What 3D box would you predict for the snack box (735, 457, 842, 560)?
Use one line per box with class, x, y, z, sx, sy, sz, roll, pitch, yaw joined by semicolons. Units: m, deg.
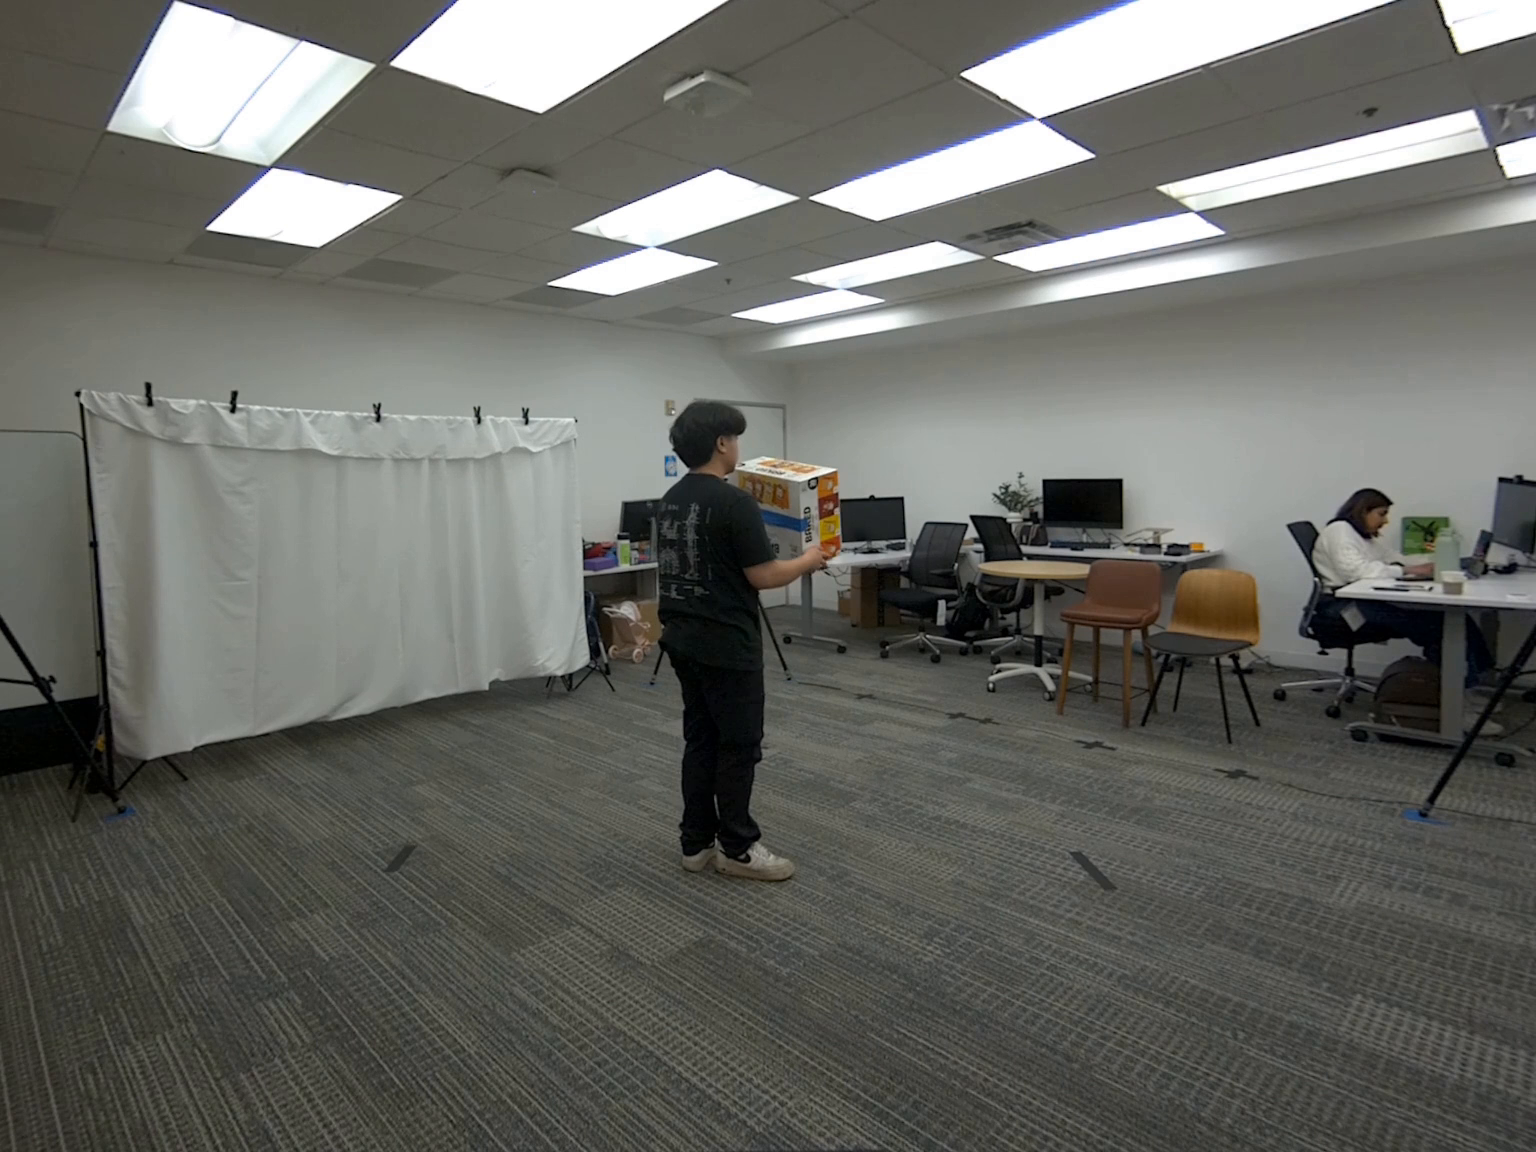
snack box;0.050;-0.248;3.297;0.202;0.334;0.420;-19;24;-38
